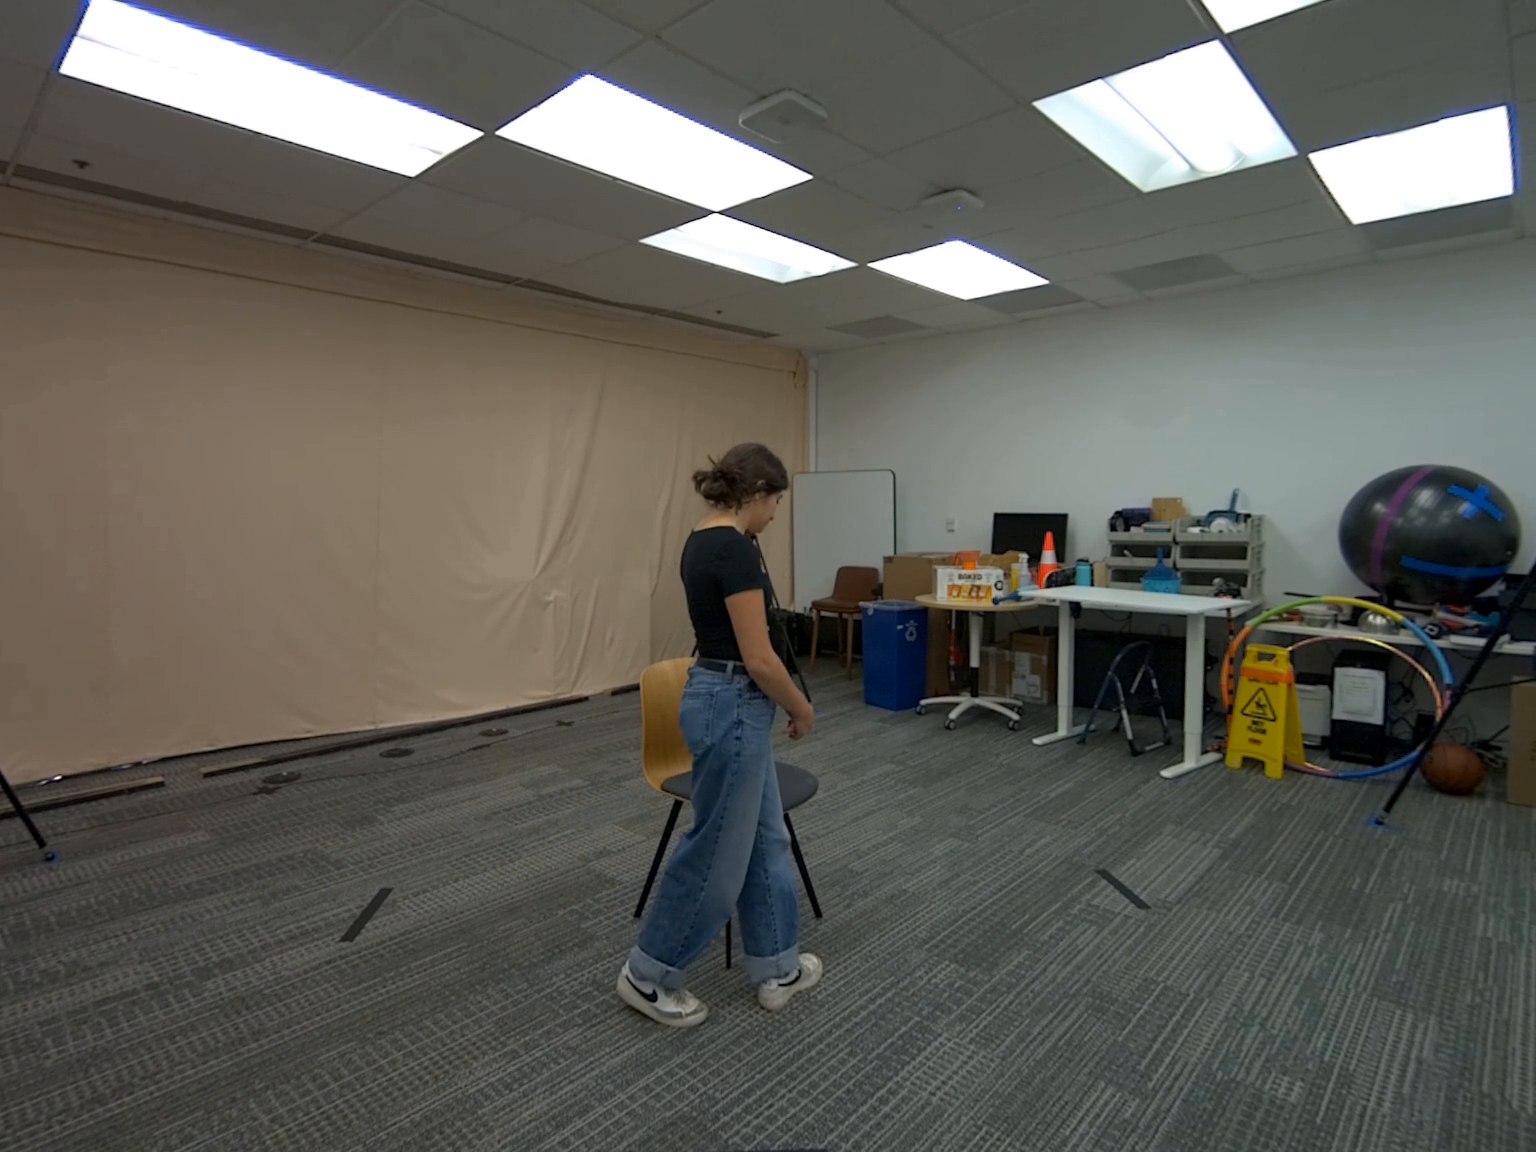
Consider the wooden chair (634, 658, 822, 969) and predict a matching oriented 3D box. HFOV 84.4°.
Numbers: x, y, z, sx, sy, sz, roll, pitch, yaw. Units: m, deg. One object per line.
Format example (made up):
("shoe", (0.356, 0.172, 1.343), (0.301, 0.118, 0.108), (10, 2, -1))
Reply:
("wooden chair", (-0.129, 0.732, 2.811), (0.539, 0.877, 0.463), (-3, 0, 43))
